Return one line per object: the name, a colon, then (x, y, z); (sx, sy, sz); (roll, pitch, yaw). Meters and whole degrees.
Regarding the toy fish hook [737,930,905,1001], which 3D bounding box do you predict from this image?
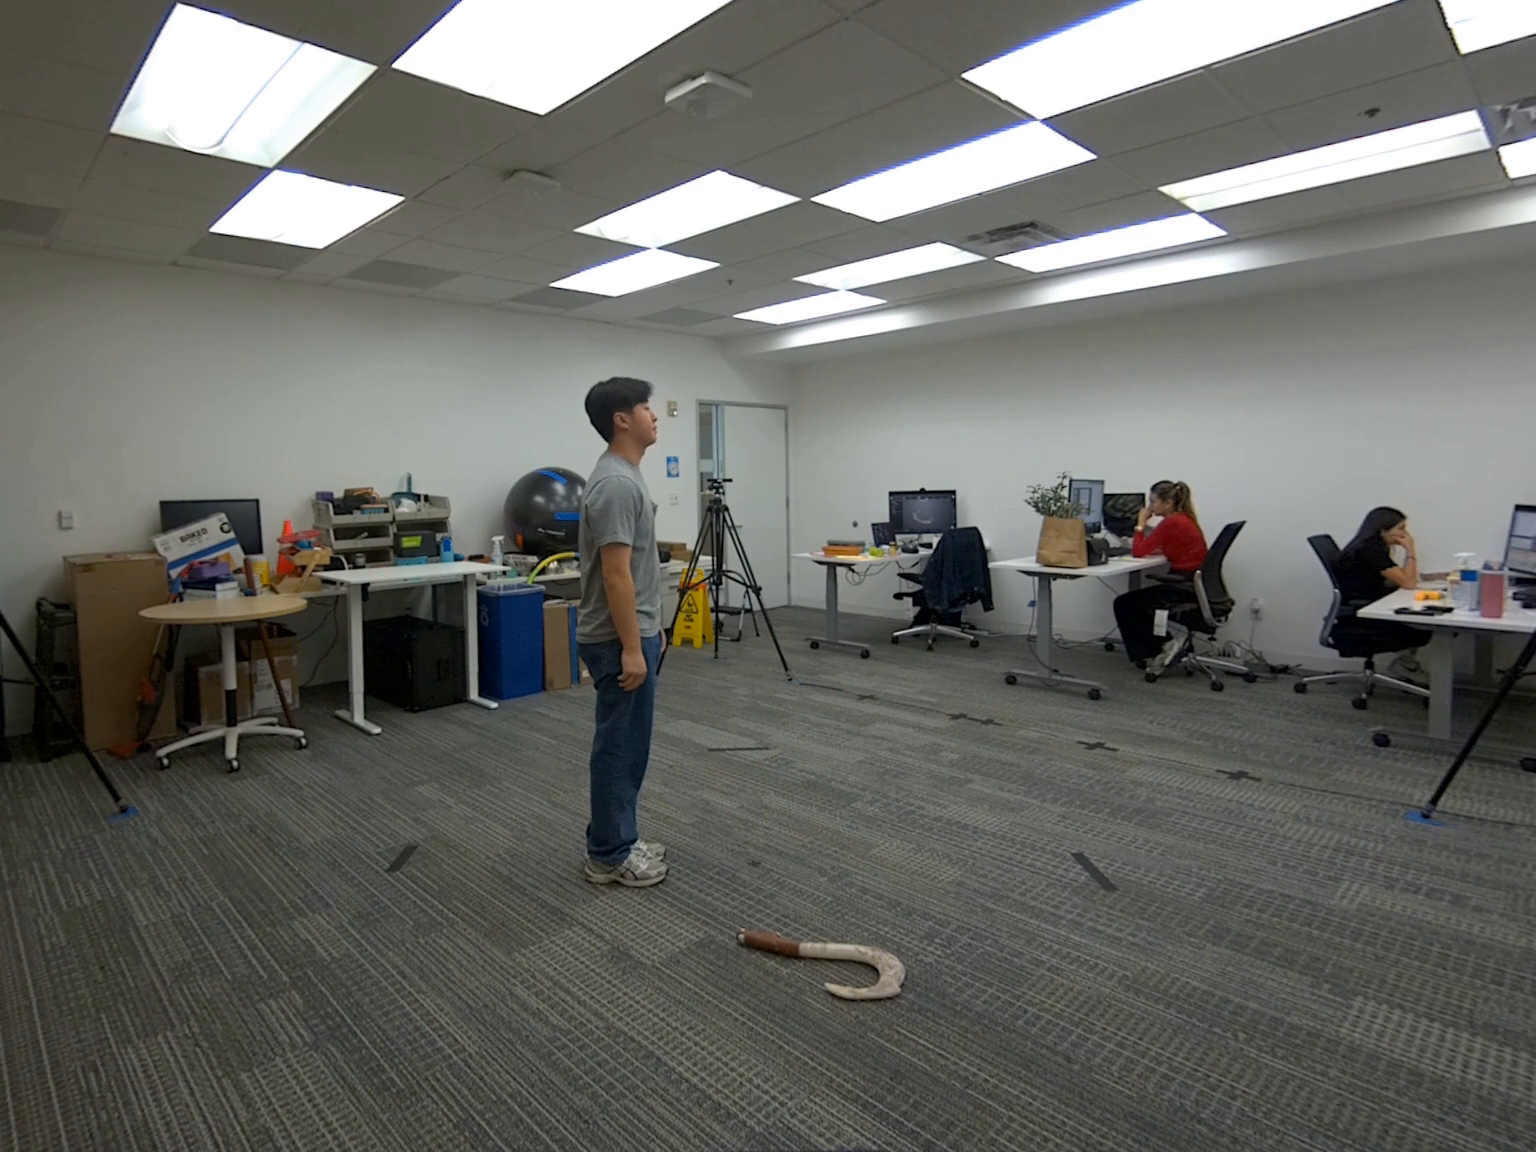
toy fish hook: (0.133, 1.098, 2.428); (0.517, 0.048, 0.221); (1, 6, 21)
